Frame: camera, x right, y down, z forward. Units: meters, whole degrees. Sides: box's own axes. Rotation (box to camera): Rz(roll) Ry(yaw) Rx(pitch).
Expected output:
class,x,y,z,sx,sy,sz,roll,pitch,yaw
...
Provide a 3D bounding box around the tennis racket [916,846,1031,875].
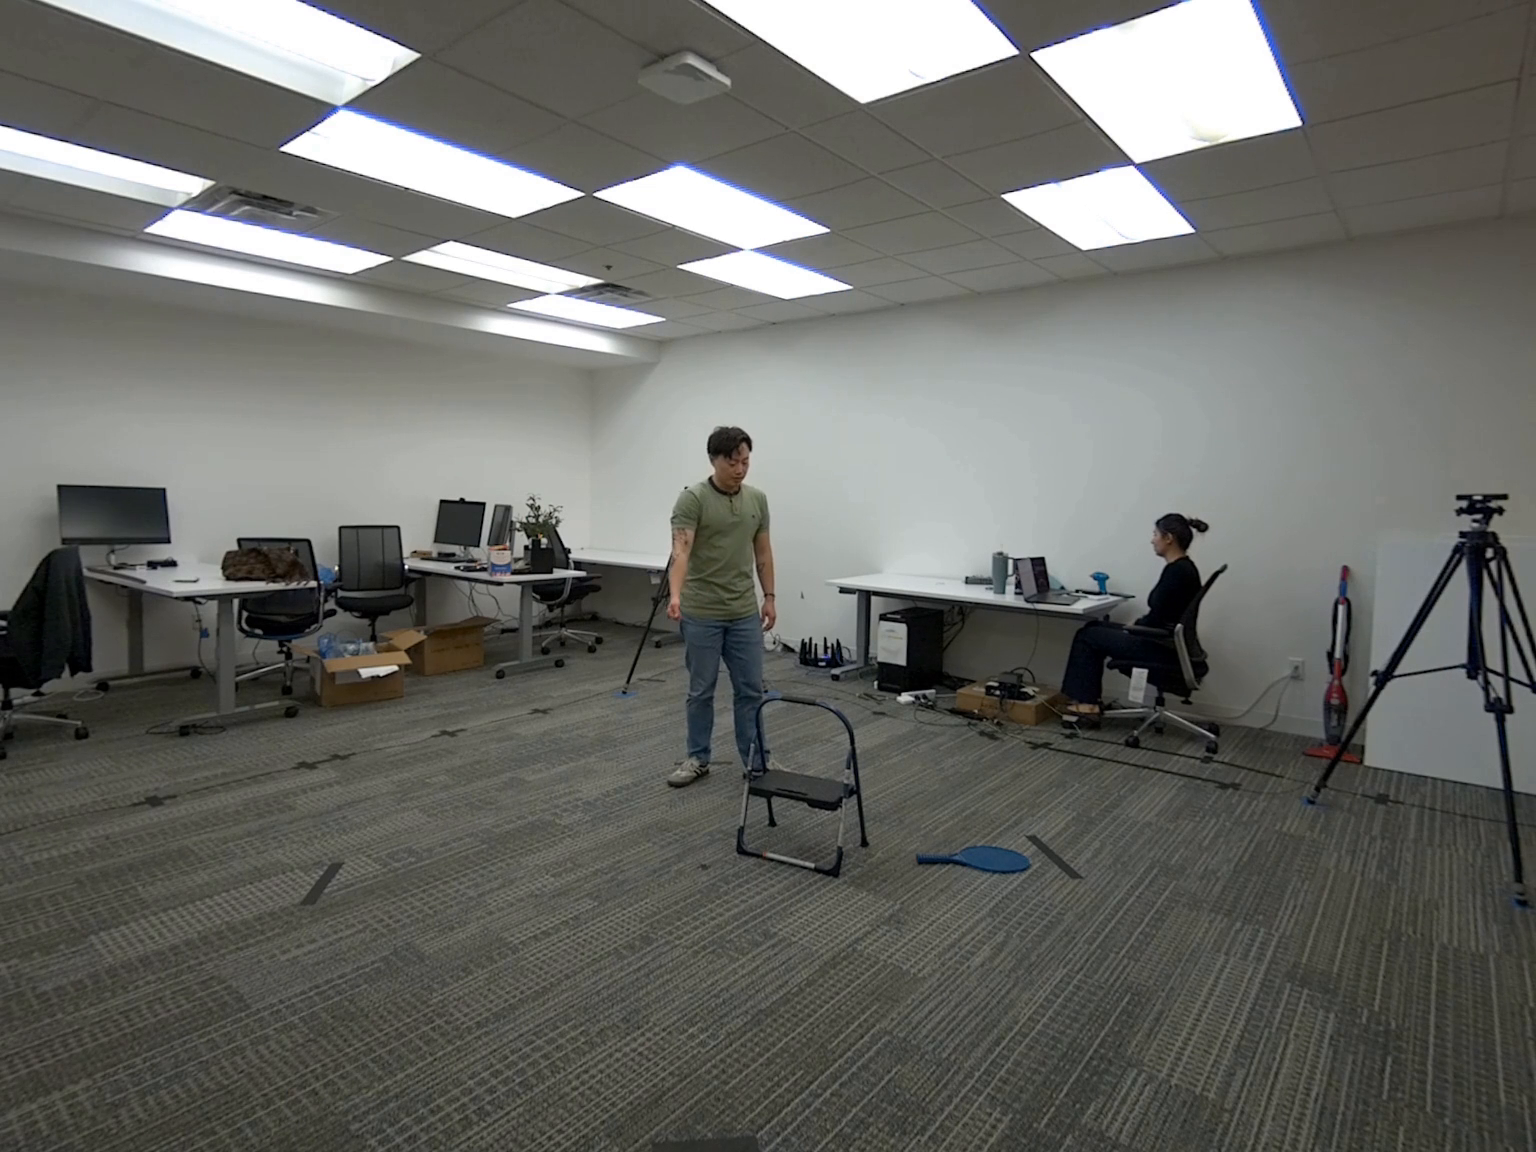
class,x,y,z,sx,sy,sz,roll,pitch,yaw
tennis racket,0.768,1.067,3.211,0.430,0.031,0.216,2,5,-5
